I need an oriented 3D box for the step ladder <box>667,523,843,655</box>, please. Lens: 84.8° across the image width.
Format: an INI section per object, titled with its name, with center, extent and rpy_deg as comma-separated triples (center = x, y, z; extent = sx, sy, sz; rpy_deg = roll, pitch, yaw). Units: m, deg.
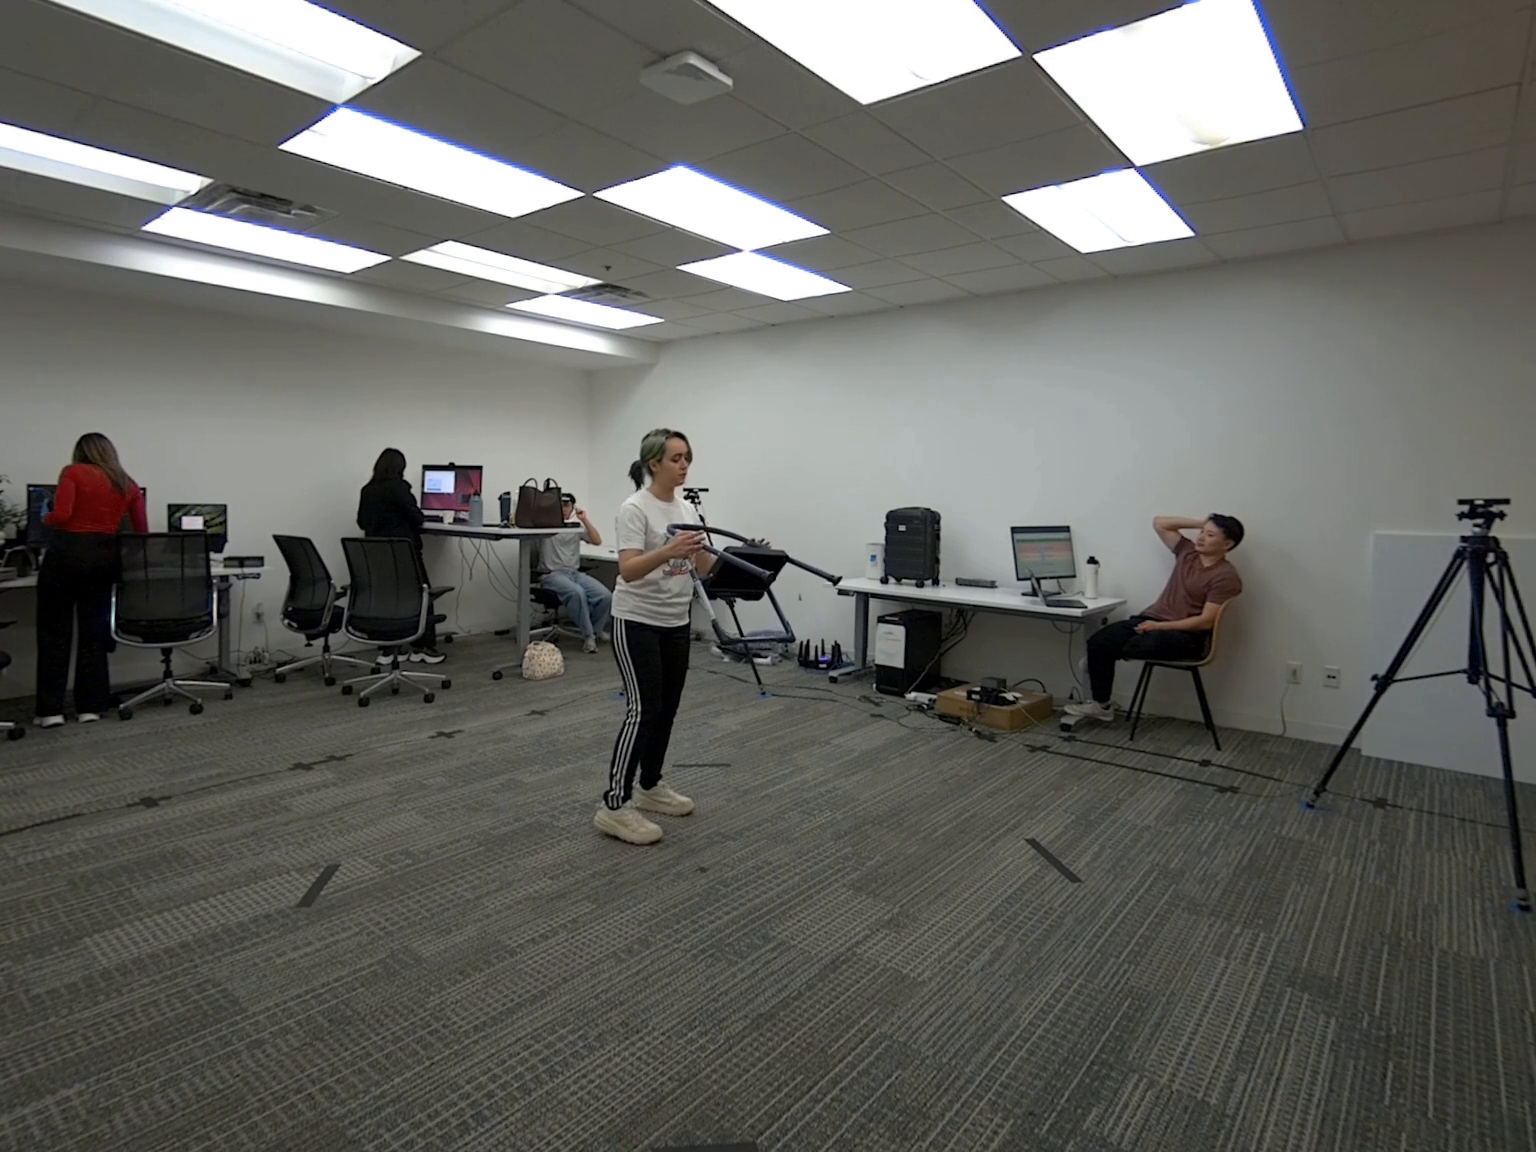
[step ladder]
center = -0.119, -0.065, 3.306
extent = 0.416, 0.347, 0.630
rpy_deg = 5, 35, -48
